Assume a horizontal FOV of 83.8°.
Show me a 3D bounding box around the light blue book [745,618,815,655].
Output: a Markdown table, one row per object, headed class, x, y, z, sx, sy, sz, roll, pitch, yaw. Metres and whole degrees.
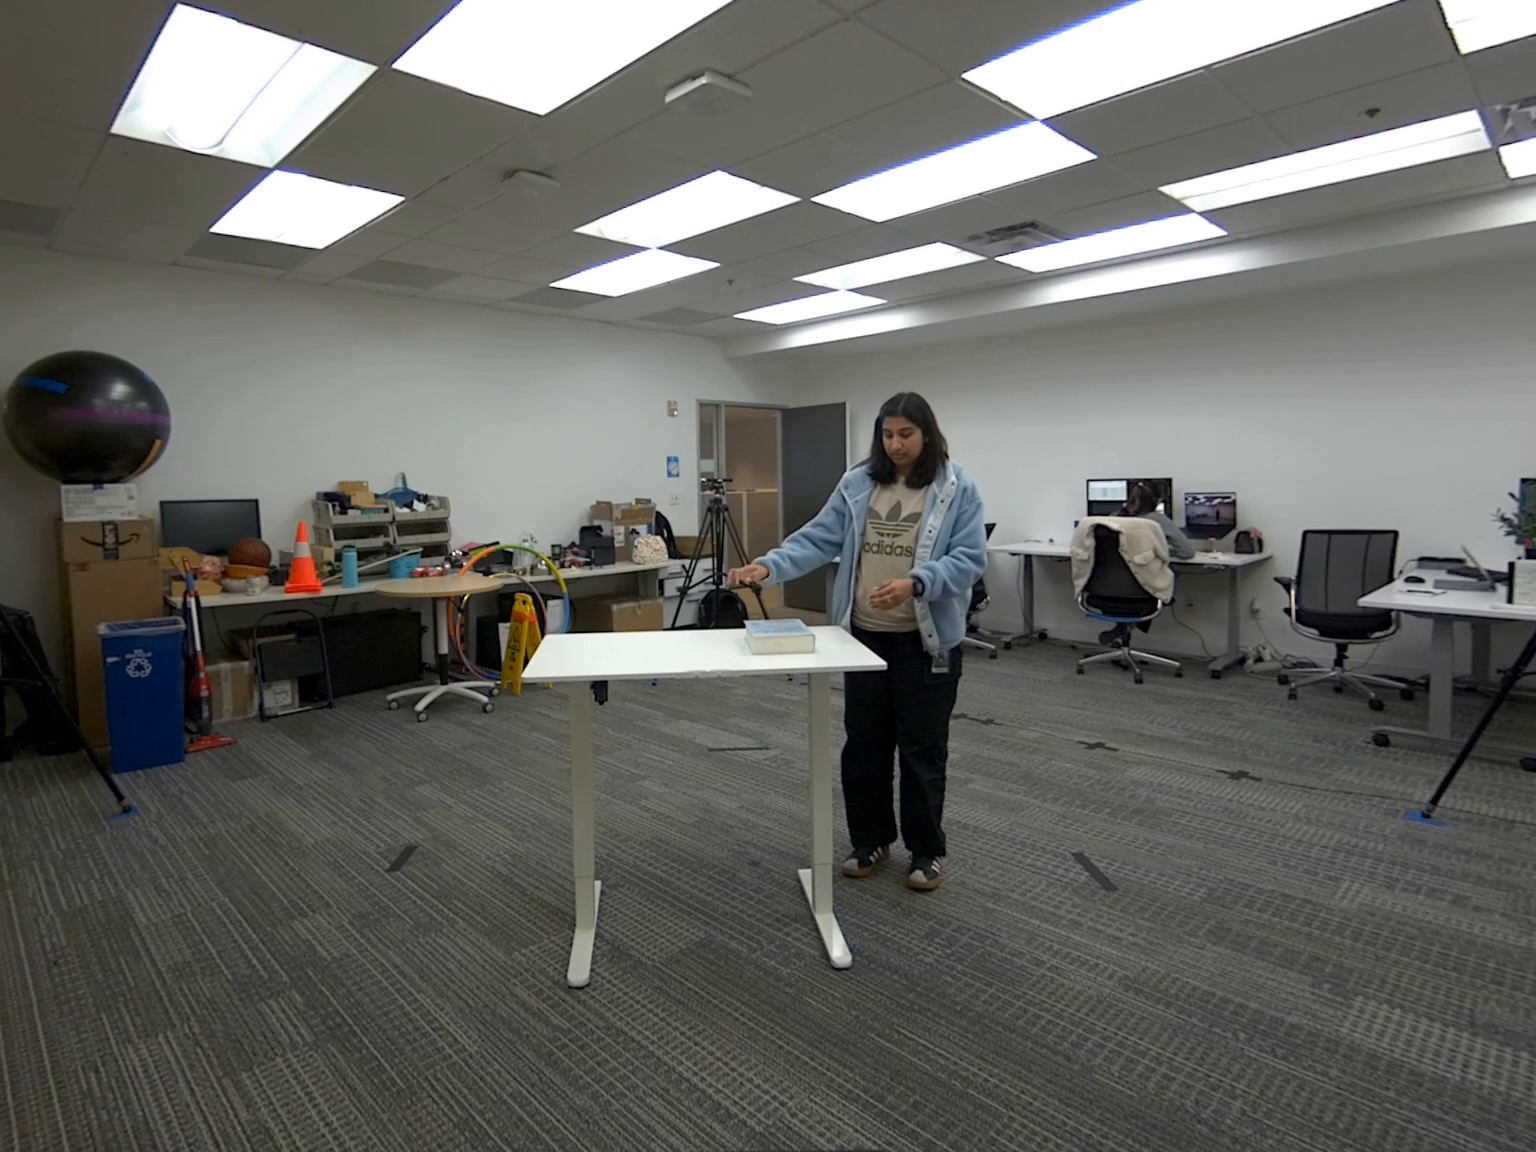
| class | x | y | z | sx | sy | sz | roll | pitch | yaw |
| --- | --- | --- | --- | --- | --- | --- | --- | --- | --- |
| light blue book | 0.044 | 0.186 | 2.635 | 0.190 | 0.059 | 0.263 | -2 | 5 | -6 |
